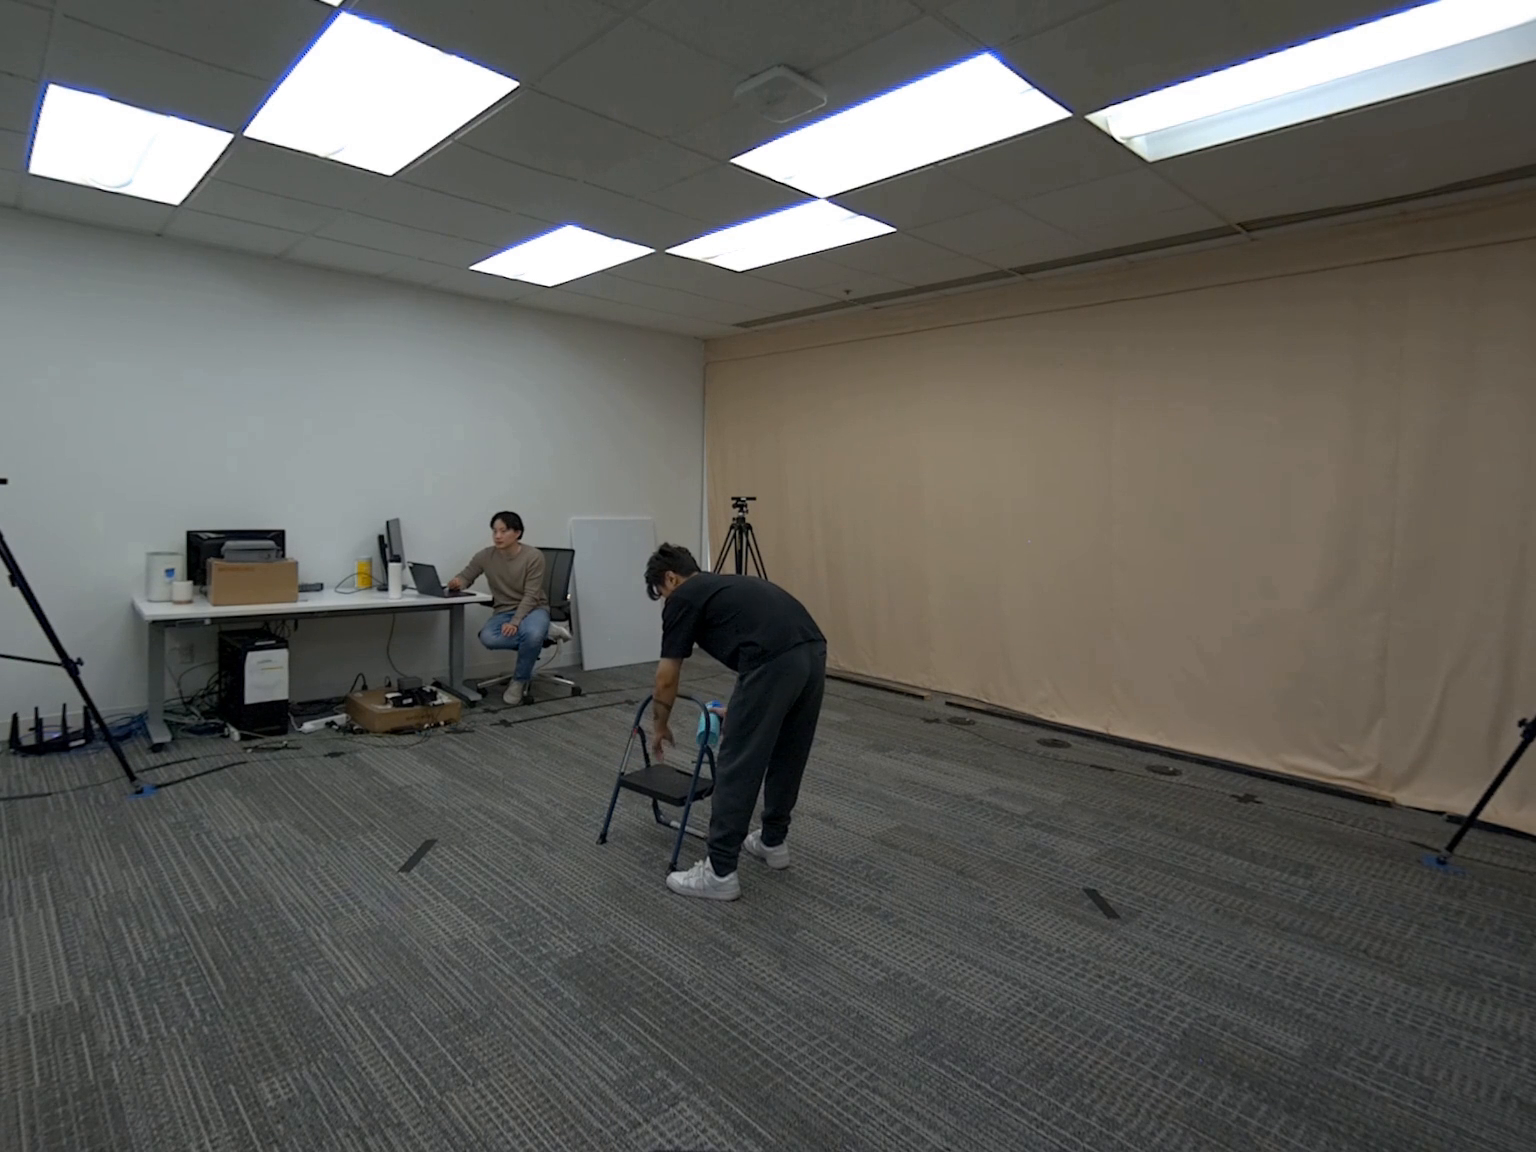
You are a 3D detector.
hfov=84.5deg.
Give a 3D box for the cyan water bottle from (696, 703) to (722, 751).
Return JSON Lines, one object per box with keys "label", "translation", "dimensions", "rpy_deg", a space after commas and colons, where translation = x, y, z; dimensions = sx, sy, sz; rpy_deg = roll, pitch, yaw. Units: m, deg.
{"label": "cyan water bottle", "translation": [-0.253, 0.612, 3.507], "dimensions": [0.093, 0.091, 0.286], "rpy_deg": [1, 19, 4]}
